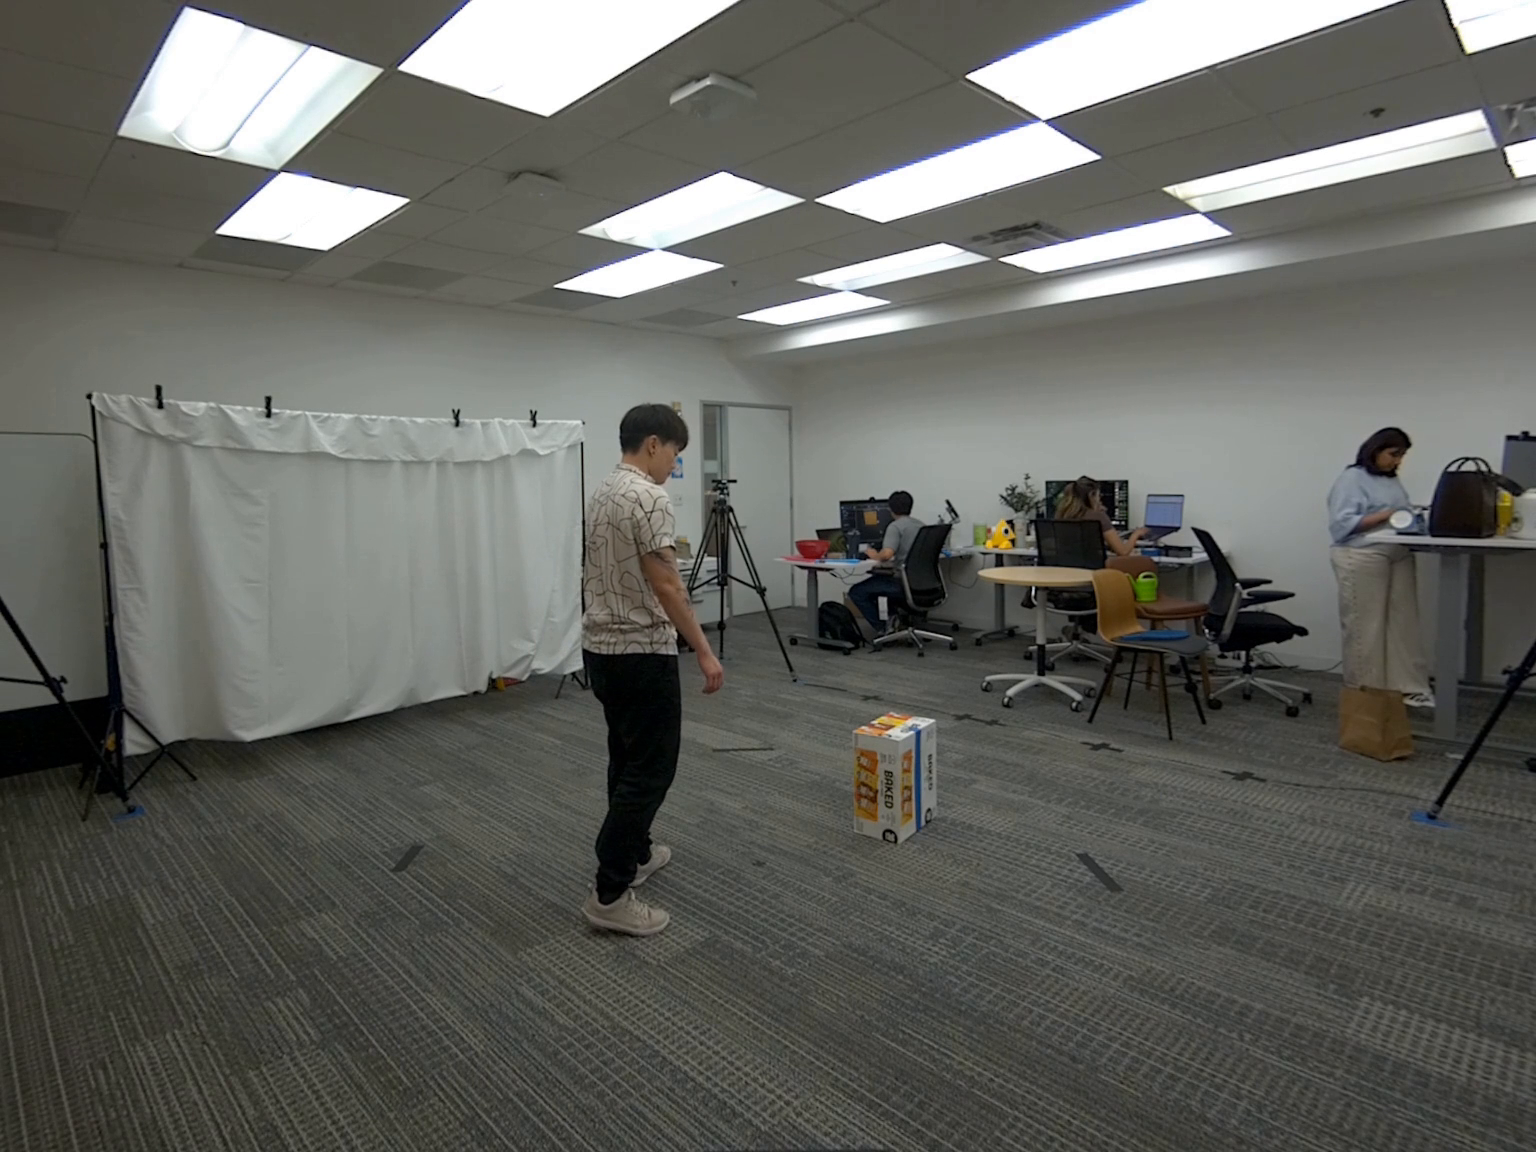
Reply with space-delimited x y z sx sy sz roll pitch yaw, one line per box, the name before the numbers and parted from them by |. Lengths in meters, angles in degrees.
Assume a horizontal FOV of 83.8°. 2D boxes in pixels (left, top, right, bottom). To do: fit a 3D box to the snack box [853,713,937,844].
snack box | 0.513 0.798 3.432 0.212 0.403 0.332 2 6 36
